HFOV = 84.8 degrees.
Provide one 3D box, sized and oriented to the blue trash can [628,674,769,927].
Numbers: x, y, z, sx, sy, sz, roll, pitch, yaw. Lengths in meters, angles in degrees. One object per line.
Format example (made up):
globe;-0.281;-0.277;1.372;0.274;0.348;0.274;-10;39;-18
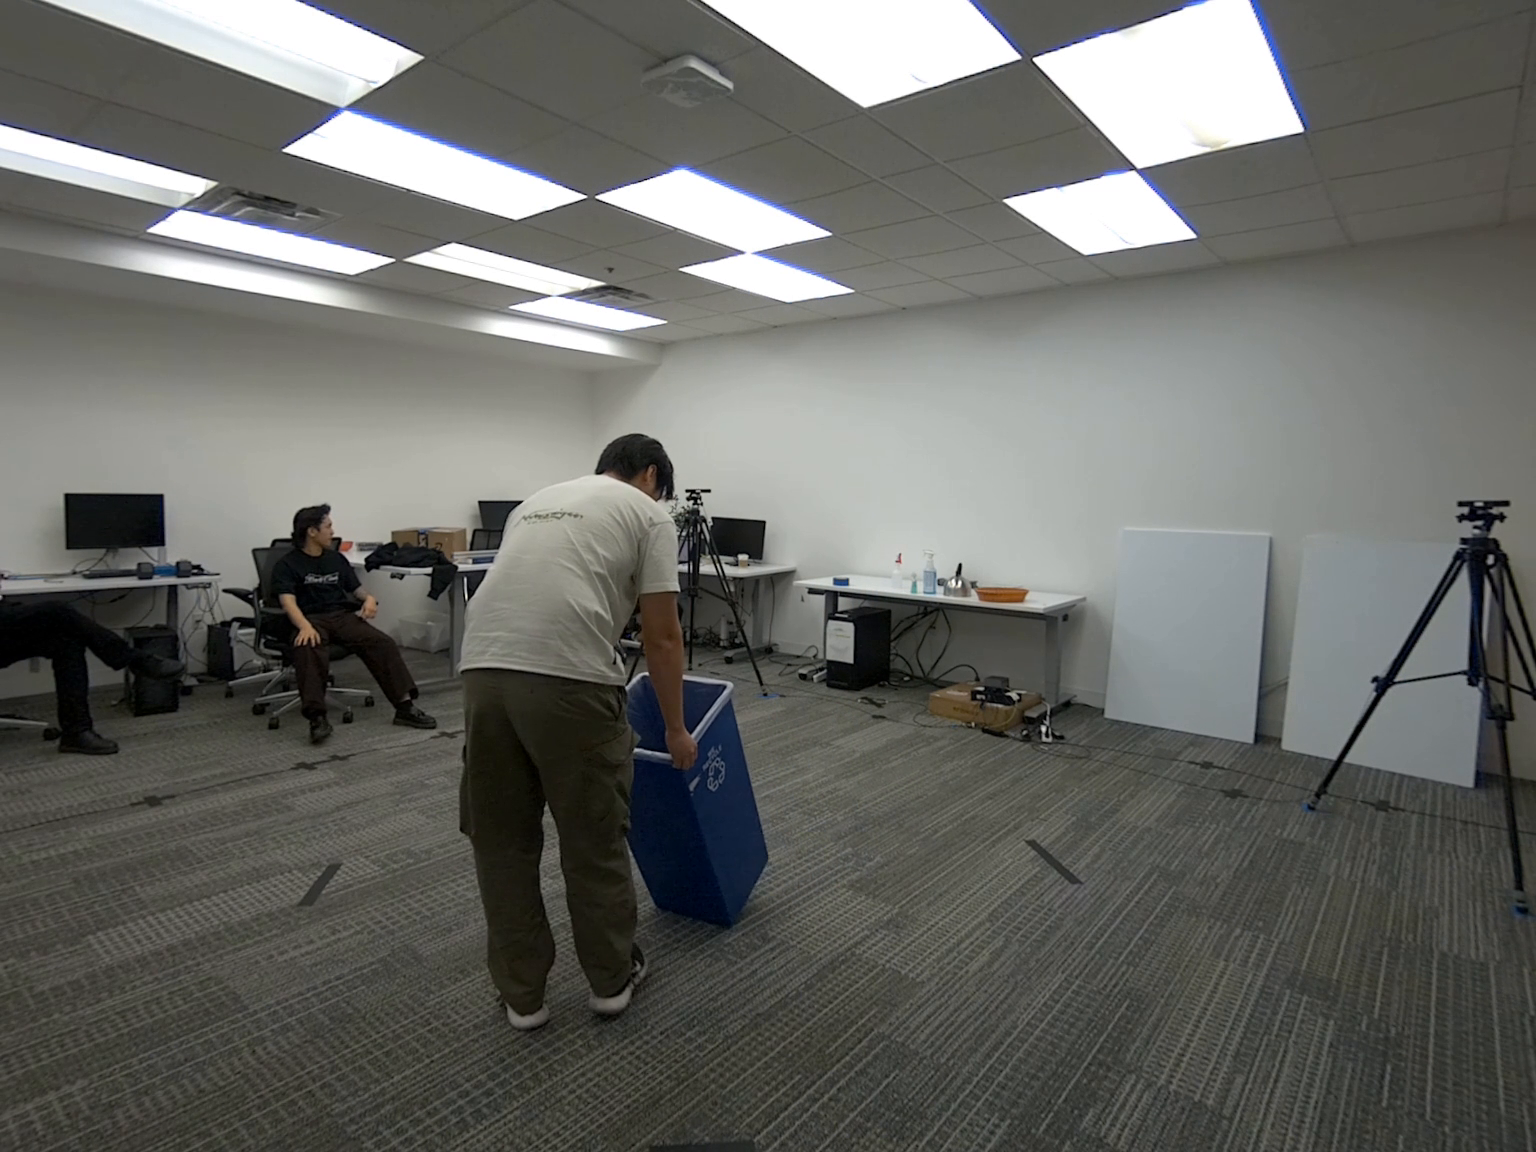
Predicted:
blue trash can;-0.268;0.716;2.726;0.389;0.695;0.373;2;29;30
